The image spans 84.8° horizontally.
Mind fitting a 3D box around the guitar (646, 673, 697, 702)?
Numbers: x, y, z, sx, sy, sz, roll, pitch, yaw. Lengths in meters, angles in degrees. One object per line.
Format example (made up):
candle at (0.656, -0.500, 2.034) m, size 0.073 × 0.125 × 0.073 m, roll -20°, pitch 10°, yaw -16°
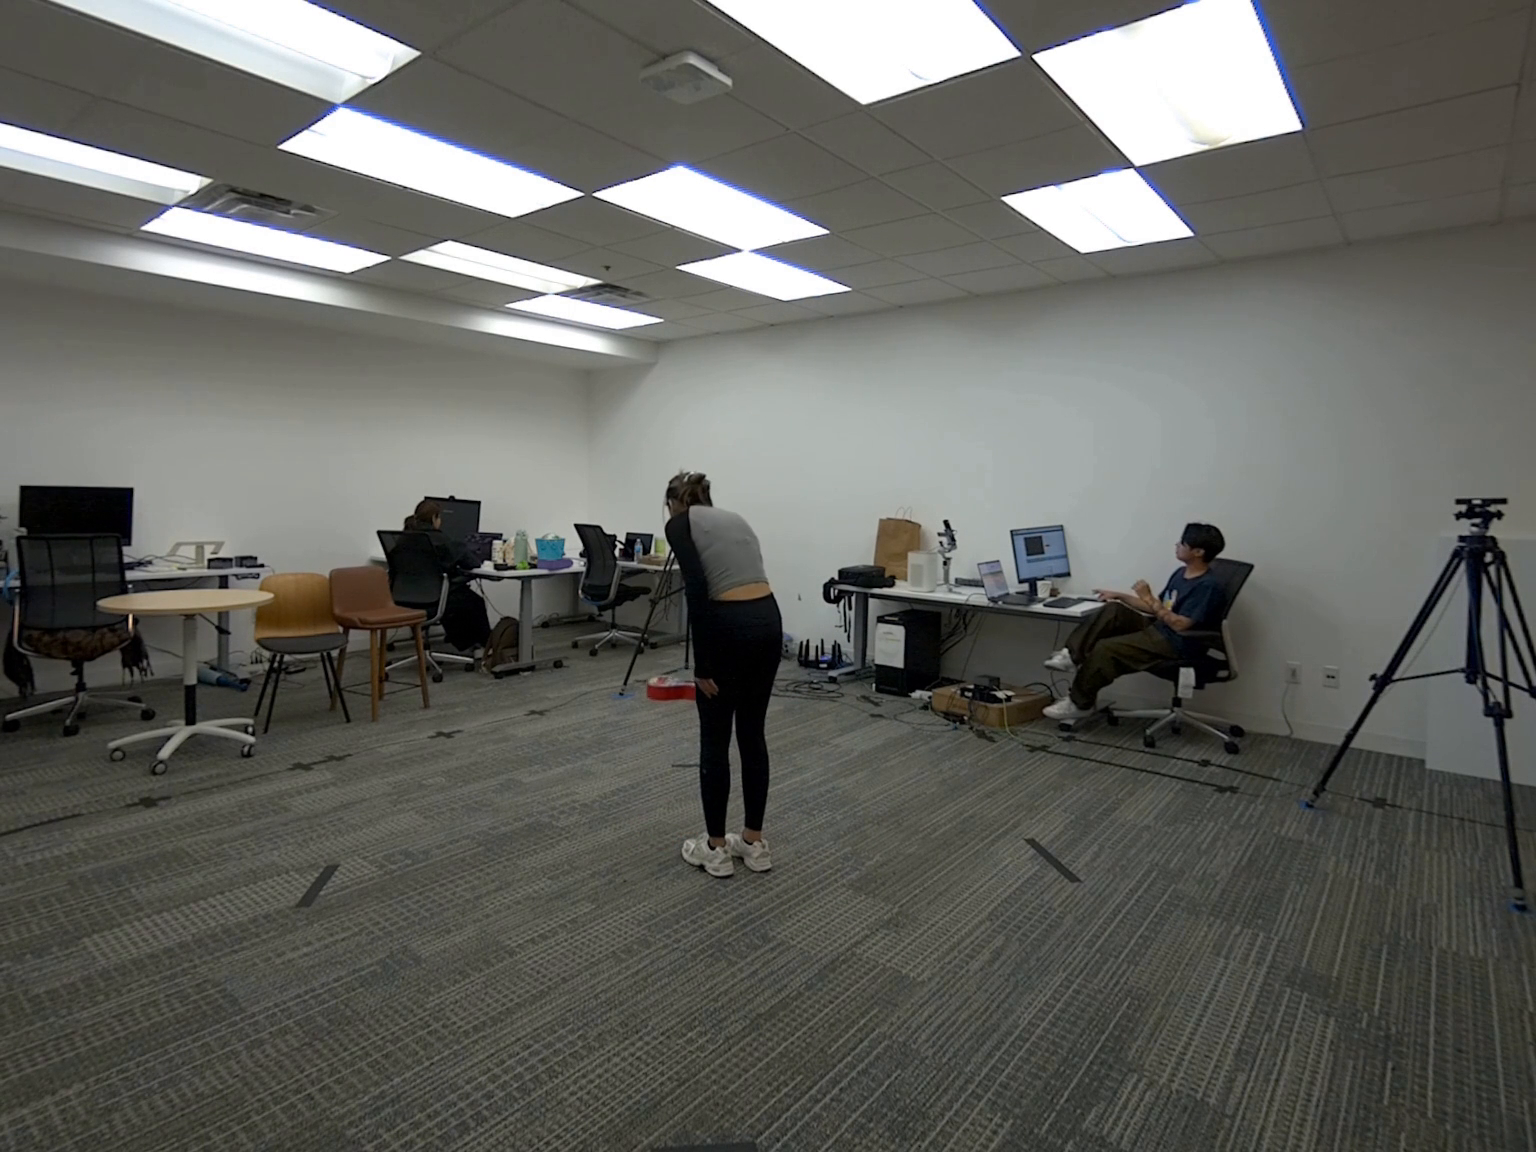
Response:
guitar at (-0.253, 0.458, 3.391) m, size 0.505 × 0.070 × 0.191 m, roll 2°, pitch 6°, yaw 13°
